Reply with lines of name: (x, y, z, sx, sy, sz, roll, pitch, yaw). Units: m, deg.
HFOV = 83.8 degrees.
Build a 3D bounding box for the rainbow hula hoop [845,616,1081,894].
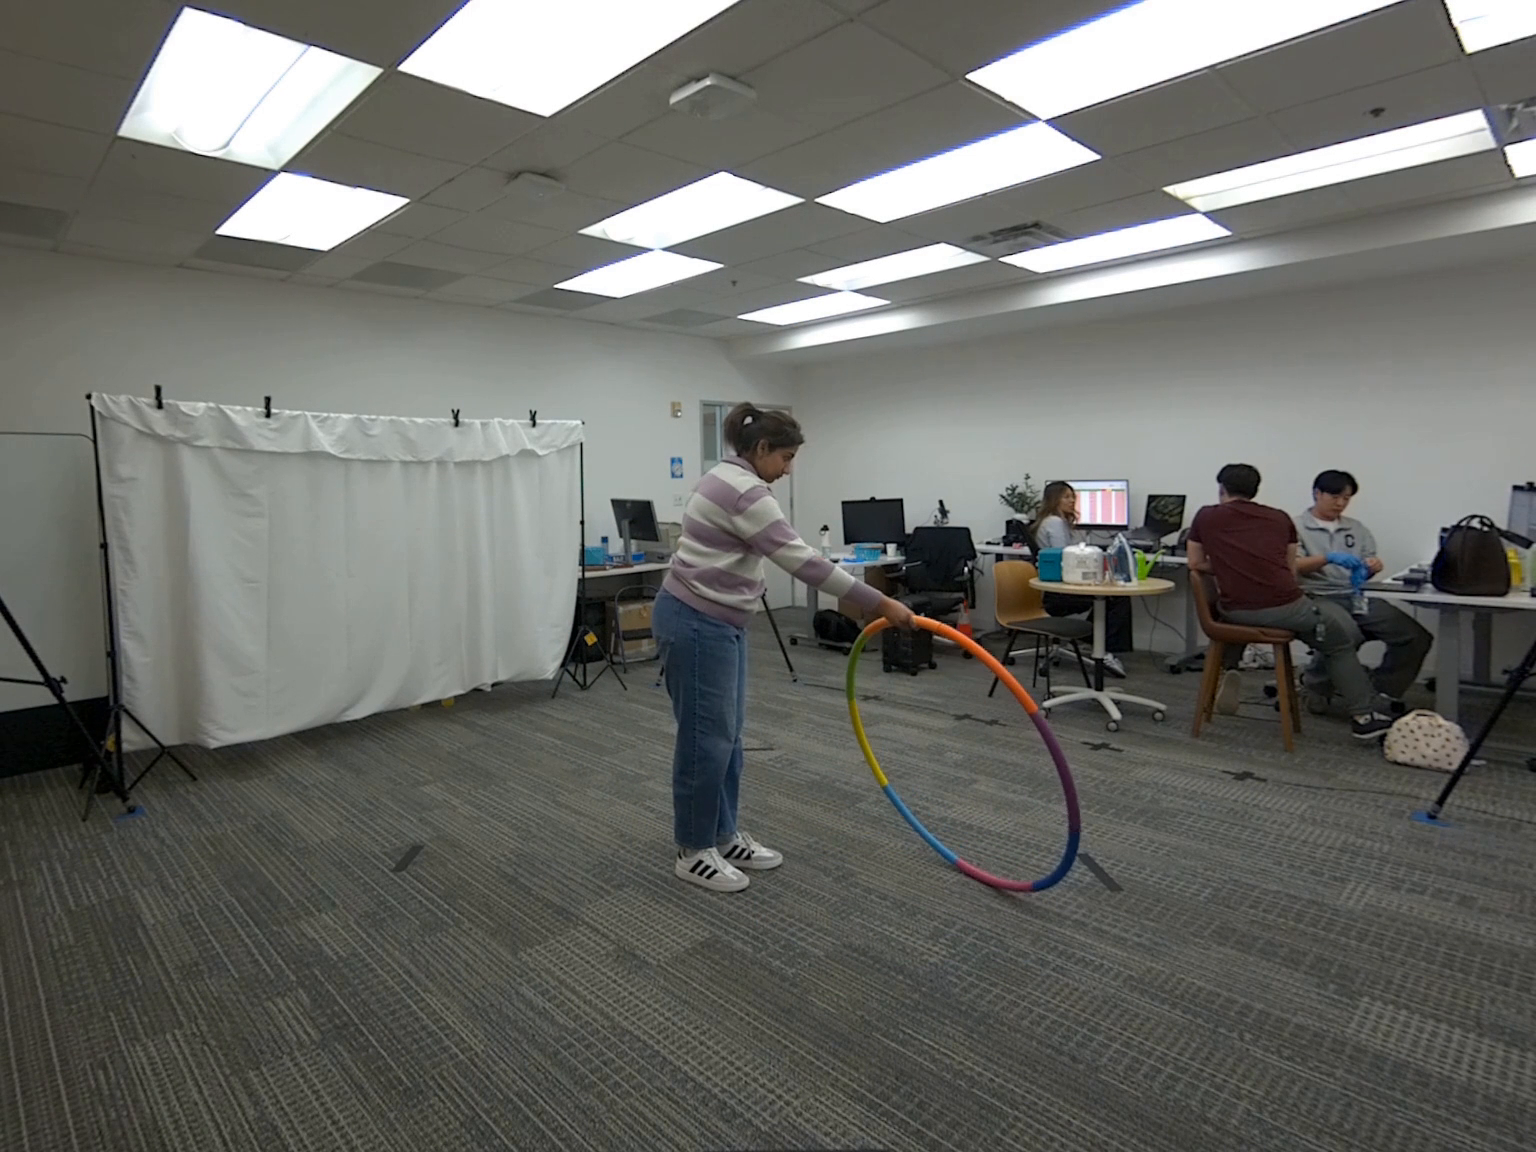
rainbow hula hoop: (0.598, 0.591, 2.844, 0.035, 0.964, 1.007, -23, 16, -30)
